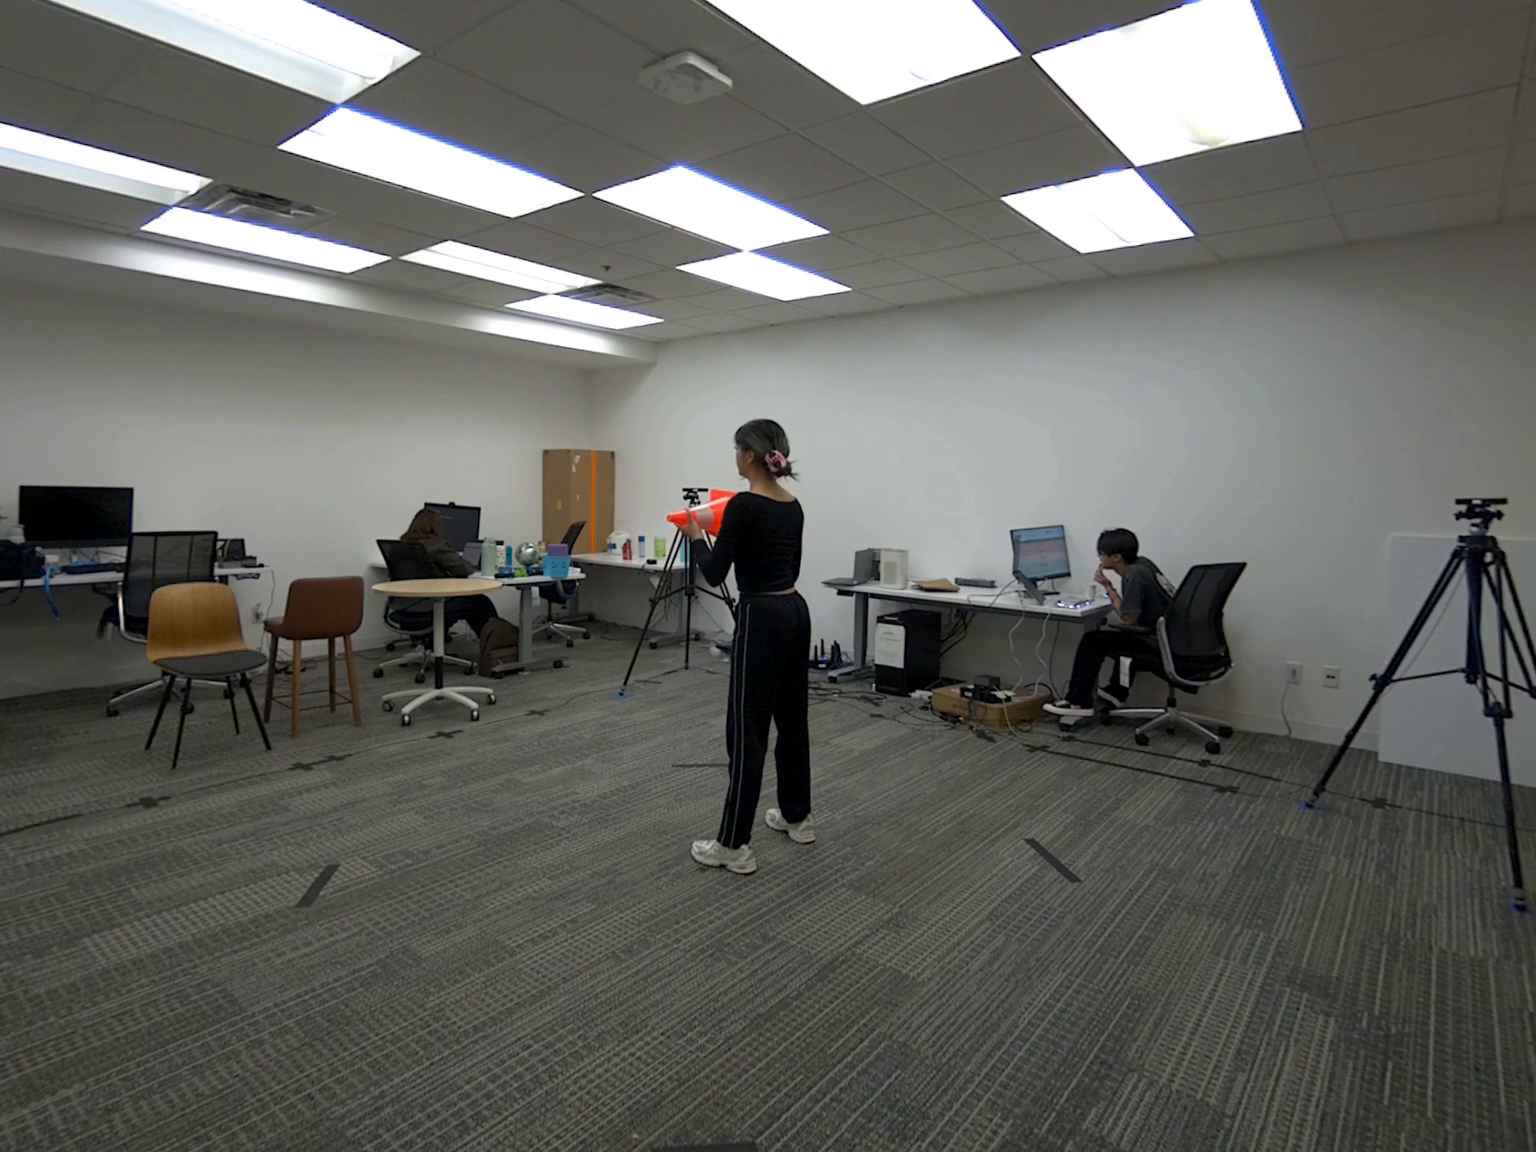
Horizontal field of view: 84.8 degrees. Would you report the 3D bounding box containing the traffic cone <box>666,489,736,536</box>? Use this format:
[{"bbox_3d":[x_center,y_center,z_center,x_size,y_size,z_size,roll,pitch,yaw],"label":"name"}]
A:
[{"bbox_3d":[-0.278,-0.242,3.423,0.210,0.203,0.373,11,11,34],"label":"traffic cone"}]
